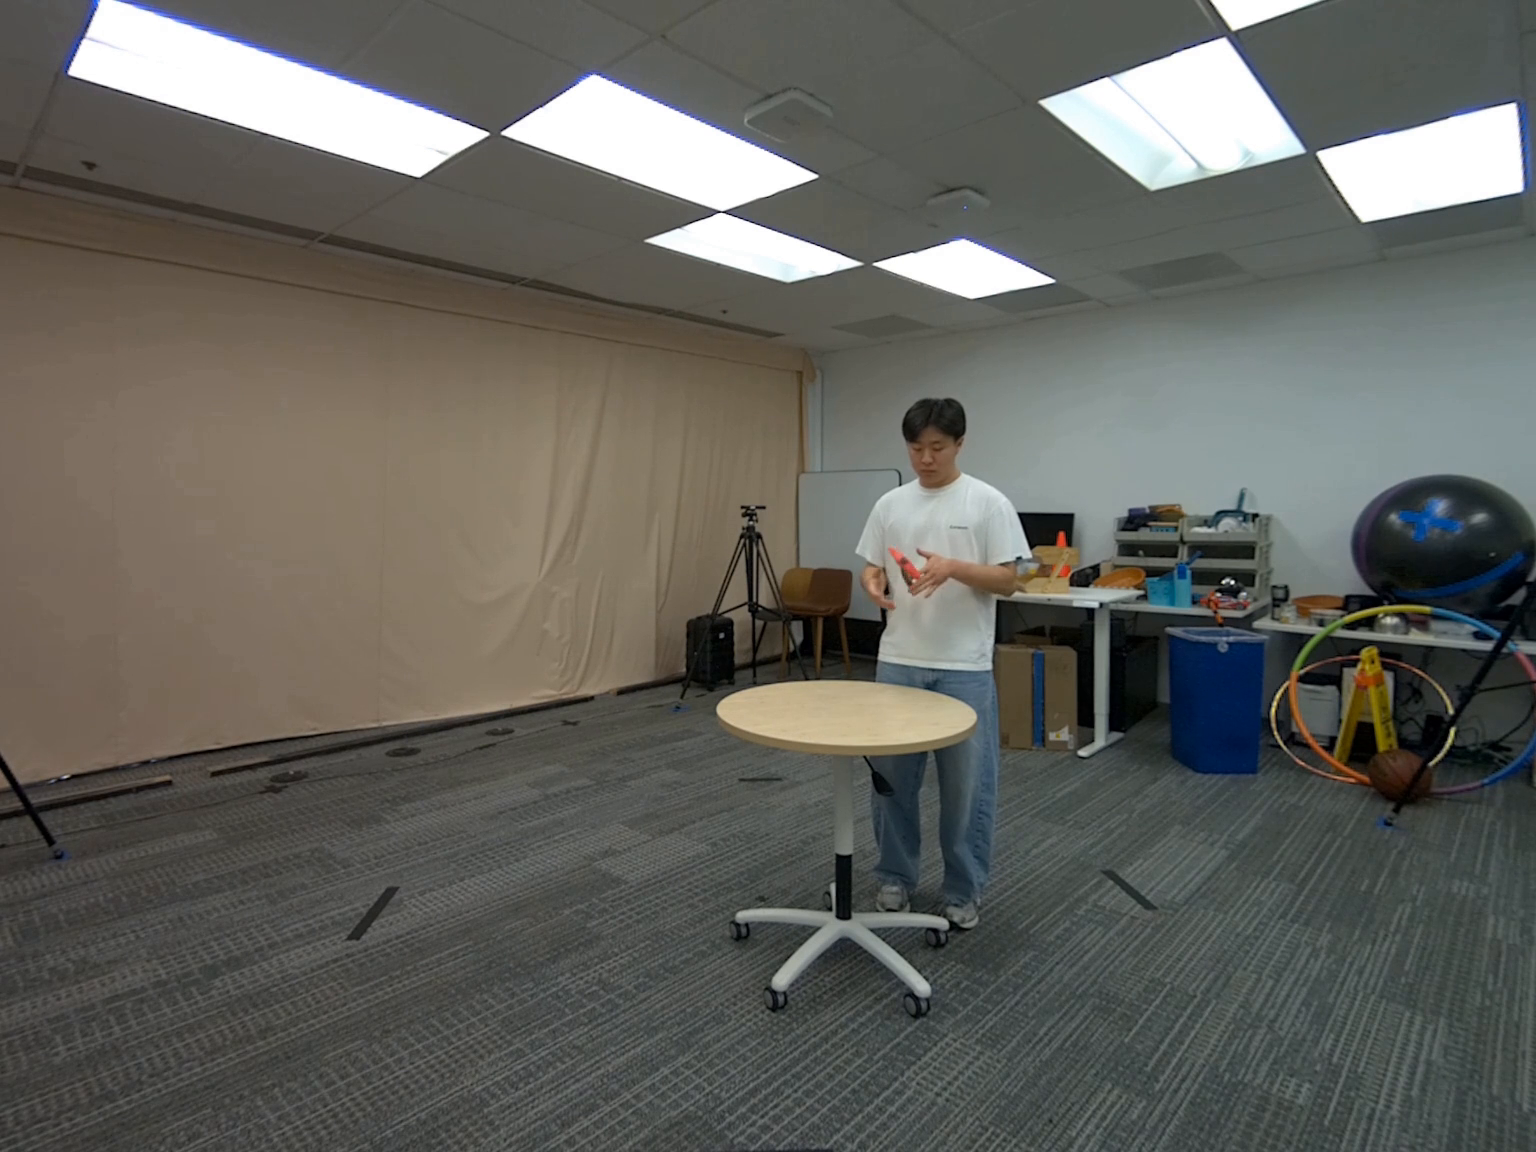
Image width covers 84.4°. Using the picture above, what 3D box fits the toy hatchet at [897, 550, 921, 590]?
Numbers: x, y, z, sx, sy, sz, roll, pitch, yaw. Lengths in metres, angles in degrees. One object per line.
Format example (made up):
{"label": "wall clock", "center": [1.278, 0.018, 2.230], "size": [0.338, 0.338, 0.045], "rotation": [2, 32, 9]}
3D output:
{"label": "toy hatchet", "center": [0.477, 0.067, 2.629], "size": [0.030, 0.134, 0.262], "rotation": [-17, -43, 7]}
